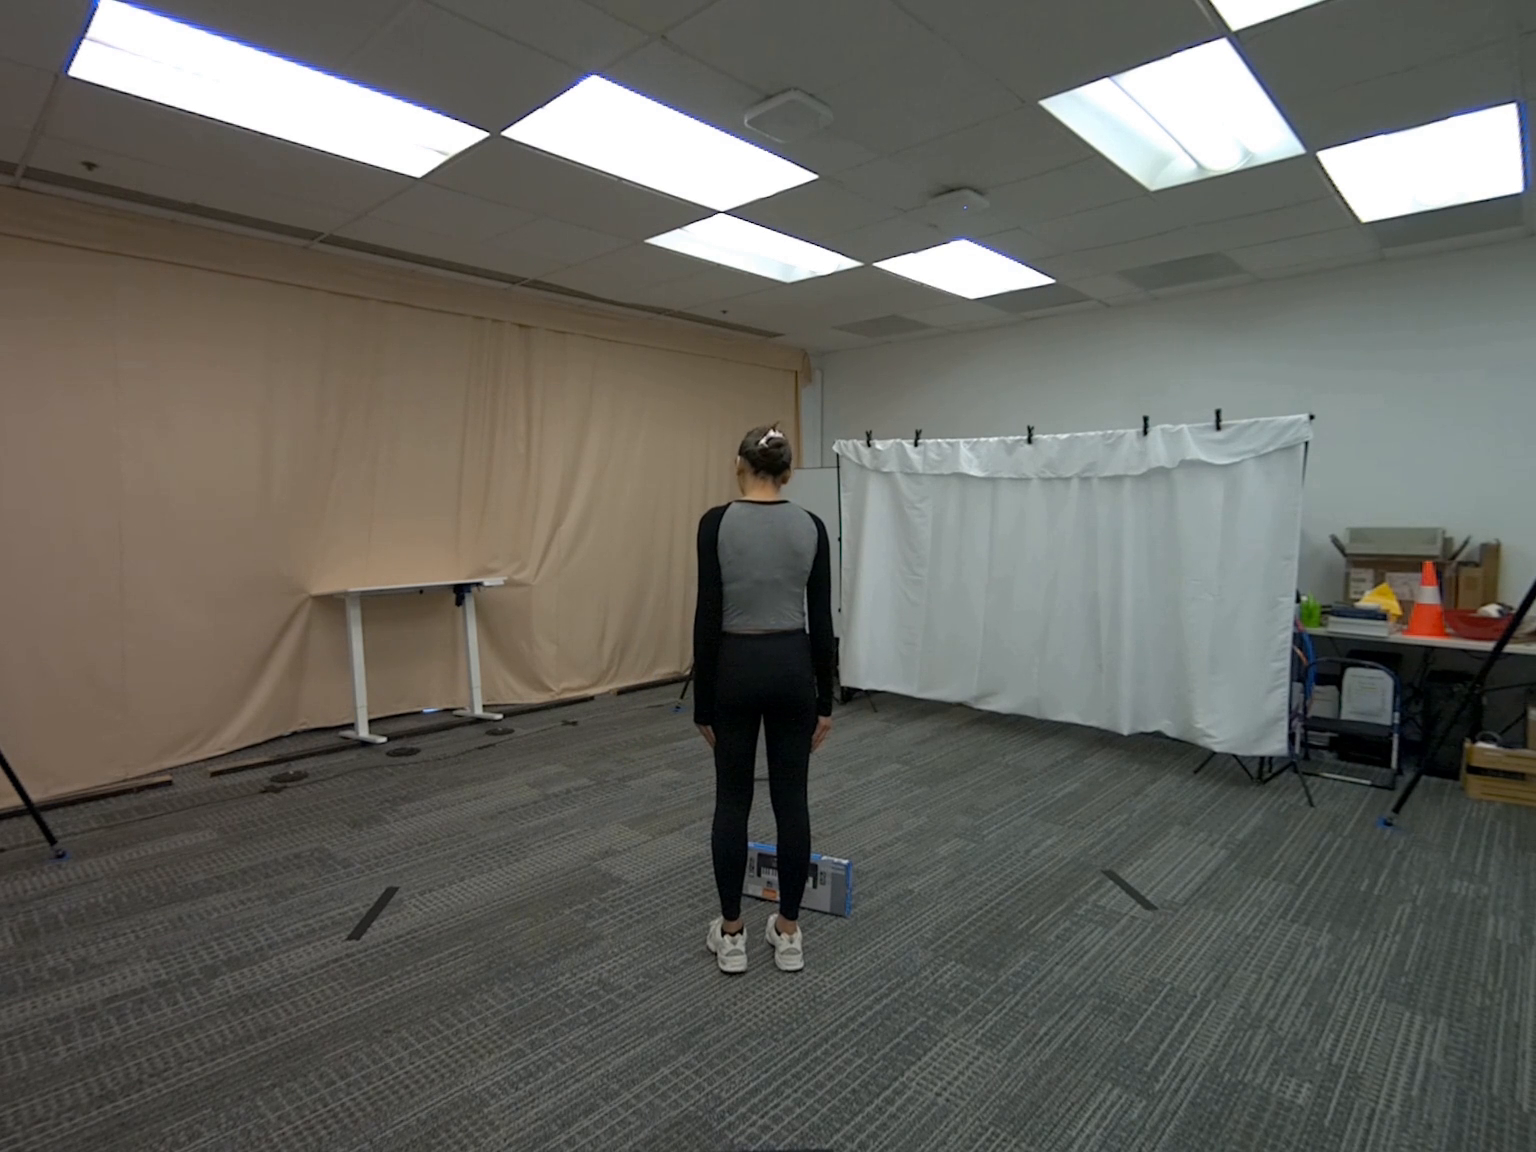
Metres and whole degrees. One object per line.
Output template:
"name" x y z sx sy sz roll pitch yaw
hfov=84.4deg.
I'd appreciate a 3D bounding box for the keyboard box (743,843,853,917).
"keyboard box" 0.077 1.058 2.962 0.448 0.176 0.057 2 -3 25
